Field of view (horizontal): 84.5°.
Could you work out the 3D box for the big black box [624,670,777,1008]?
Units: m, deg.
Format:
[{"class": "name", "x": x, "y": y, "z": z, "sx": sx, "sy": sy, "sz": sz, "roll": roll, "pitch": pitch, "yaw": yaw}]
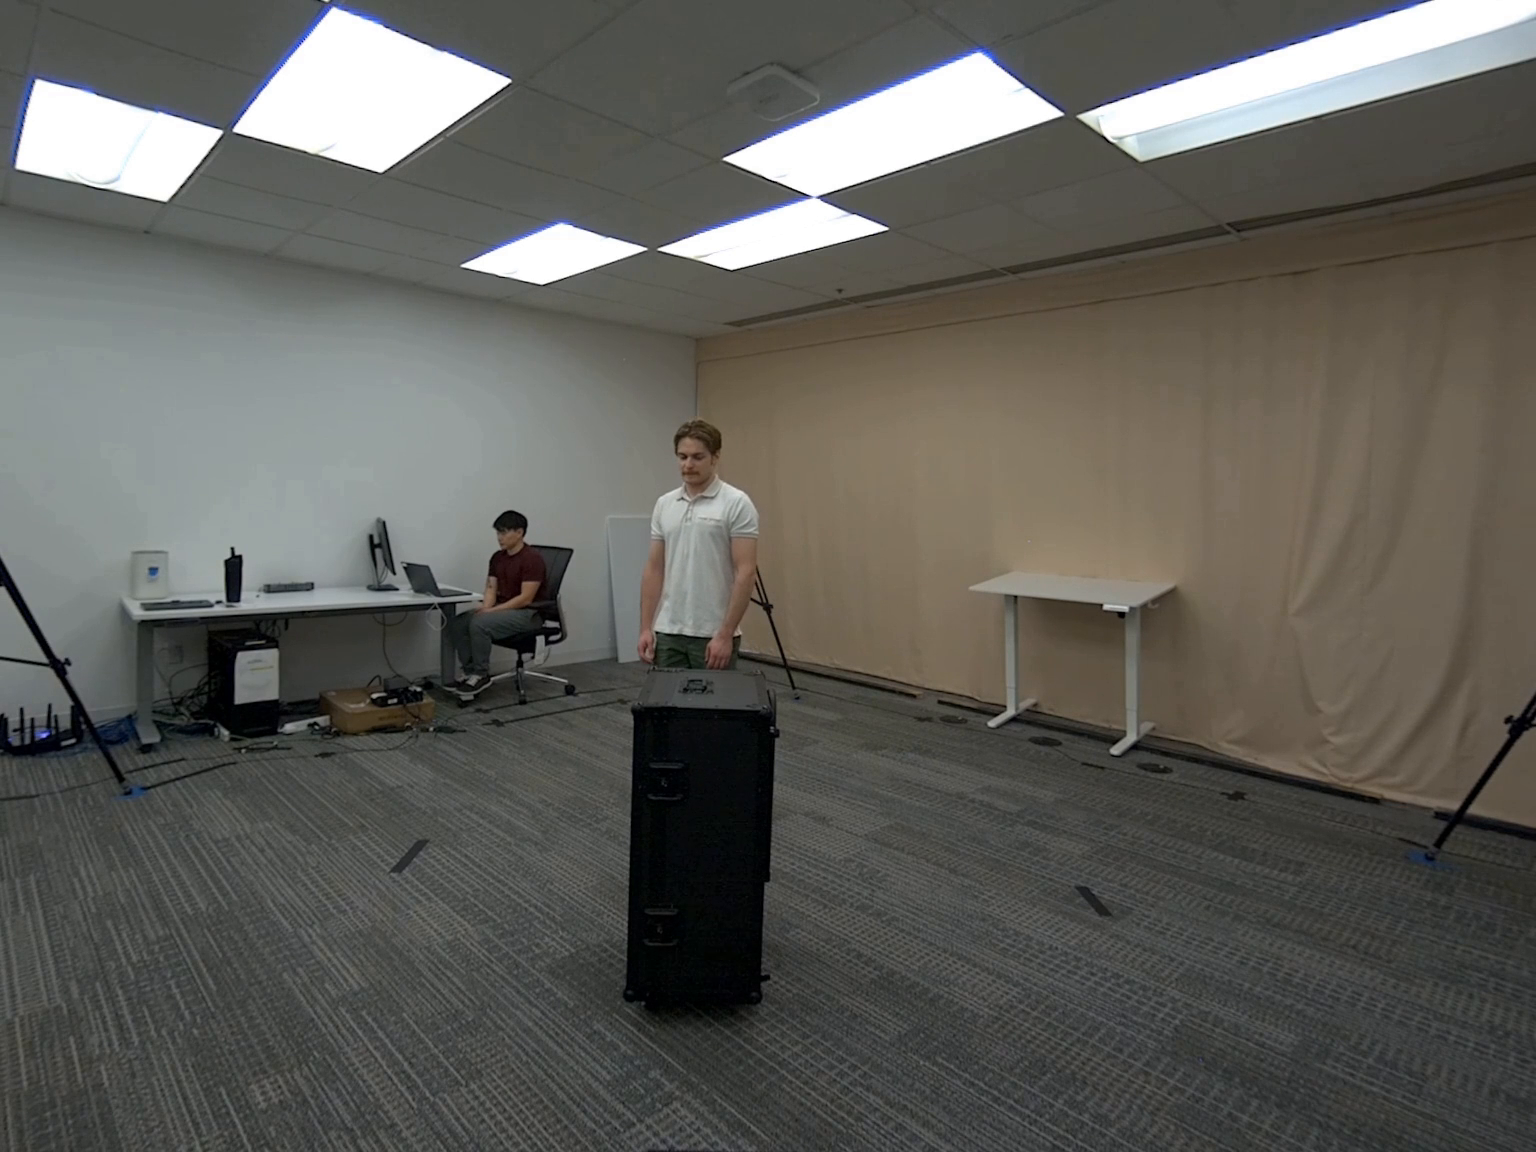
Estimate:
[{"class": "big black box", "x": -0.197, "y": 0.746, "z": 2.415, "sx": 0.385, "sy": 0.866, "sz": 0.525, "roll": 1, "pitch": 4, "yaw": -3}]
